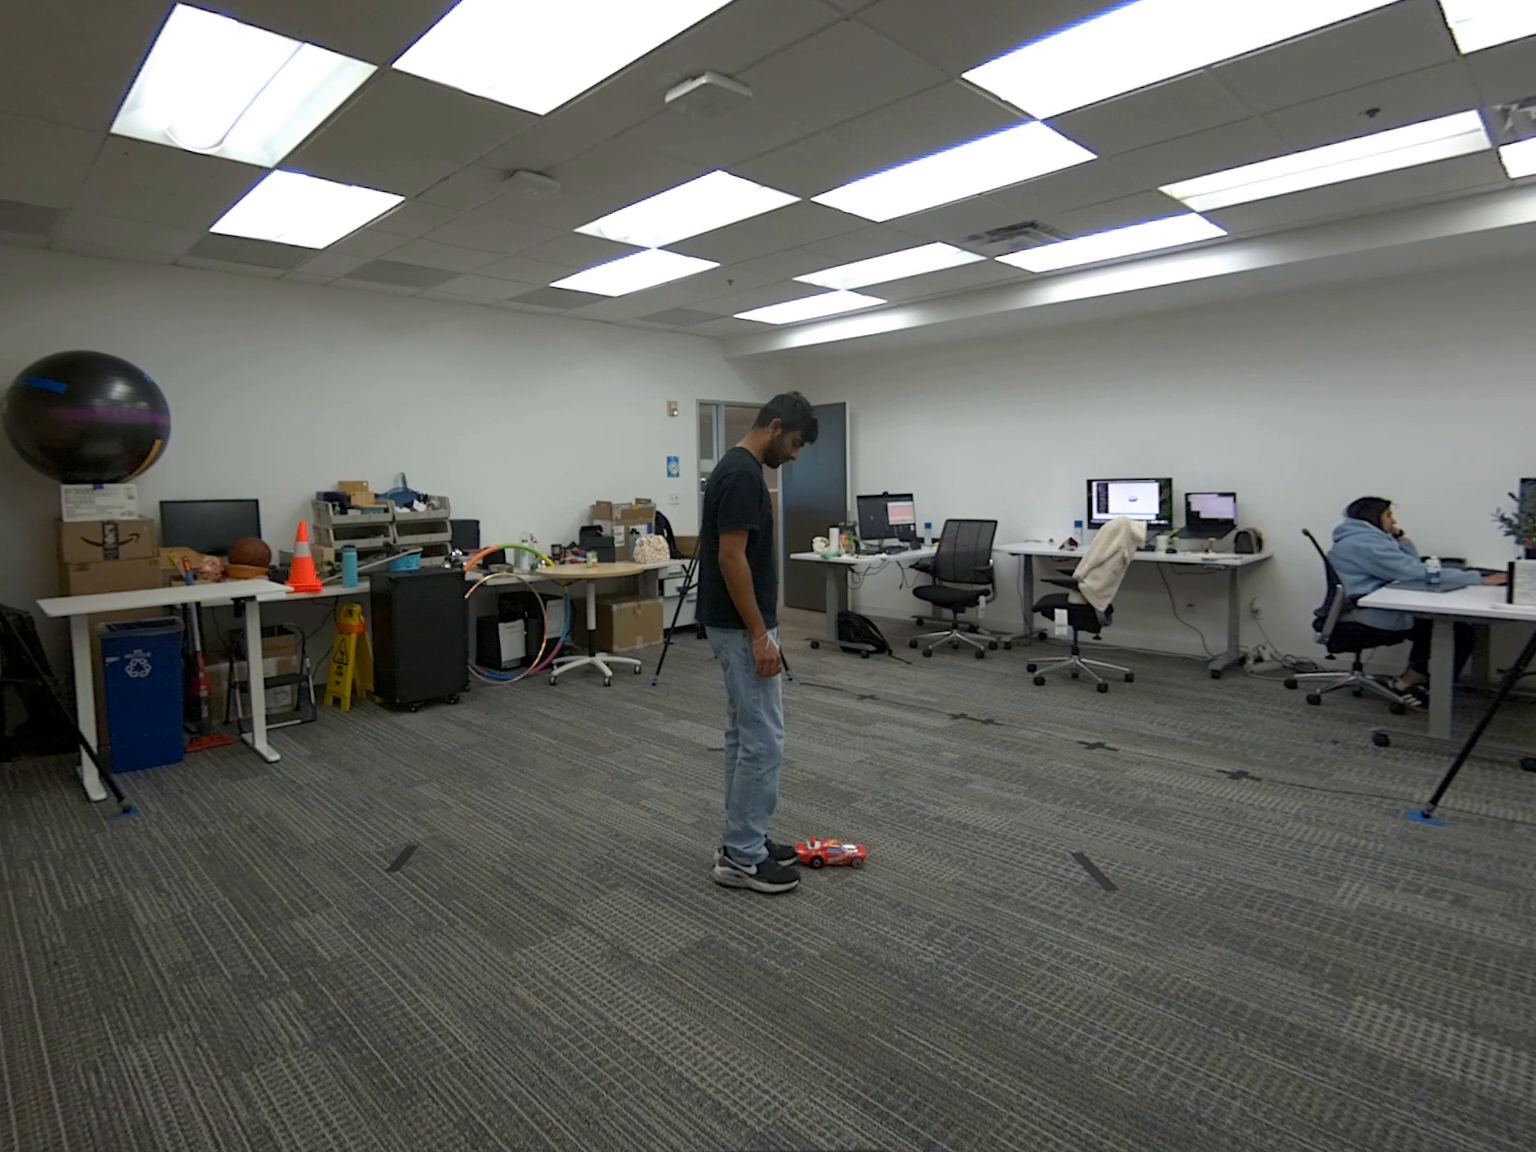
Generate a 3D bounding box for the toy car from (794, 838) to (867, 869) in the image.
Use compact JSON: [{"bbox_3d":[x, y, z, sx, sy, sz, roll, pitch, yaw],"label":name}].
[{"bbox_3d":[0.221,0.999,3.099,0.255,0.083,0.130,11,7,2],"label":"toy car"}]
